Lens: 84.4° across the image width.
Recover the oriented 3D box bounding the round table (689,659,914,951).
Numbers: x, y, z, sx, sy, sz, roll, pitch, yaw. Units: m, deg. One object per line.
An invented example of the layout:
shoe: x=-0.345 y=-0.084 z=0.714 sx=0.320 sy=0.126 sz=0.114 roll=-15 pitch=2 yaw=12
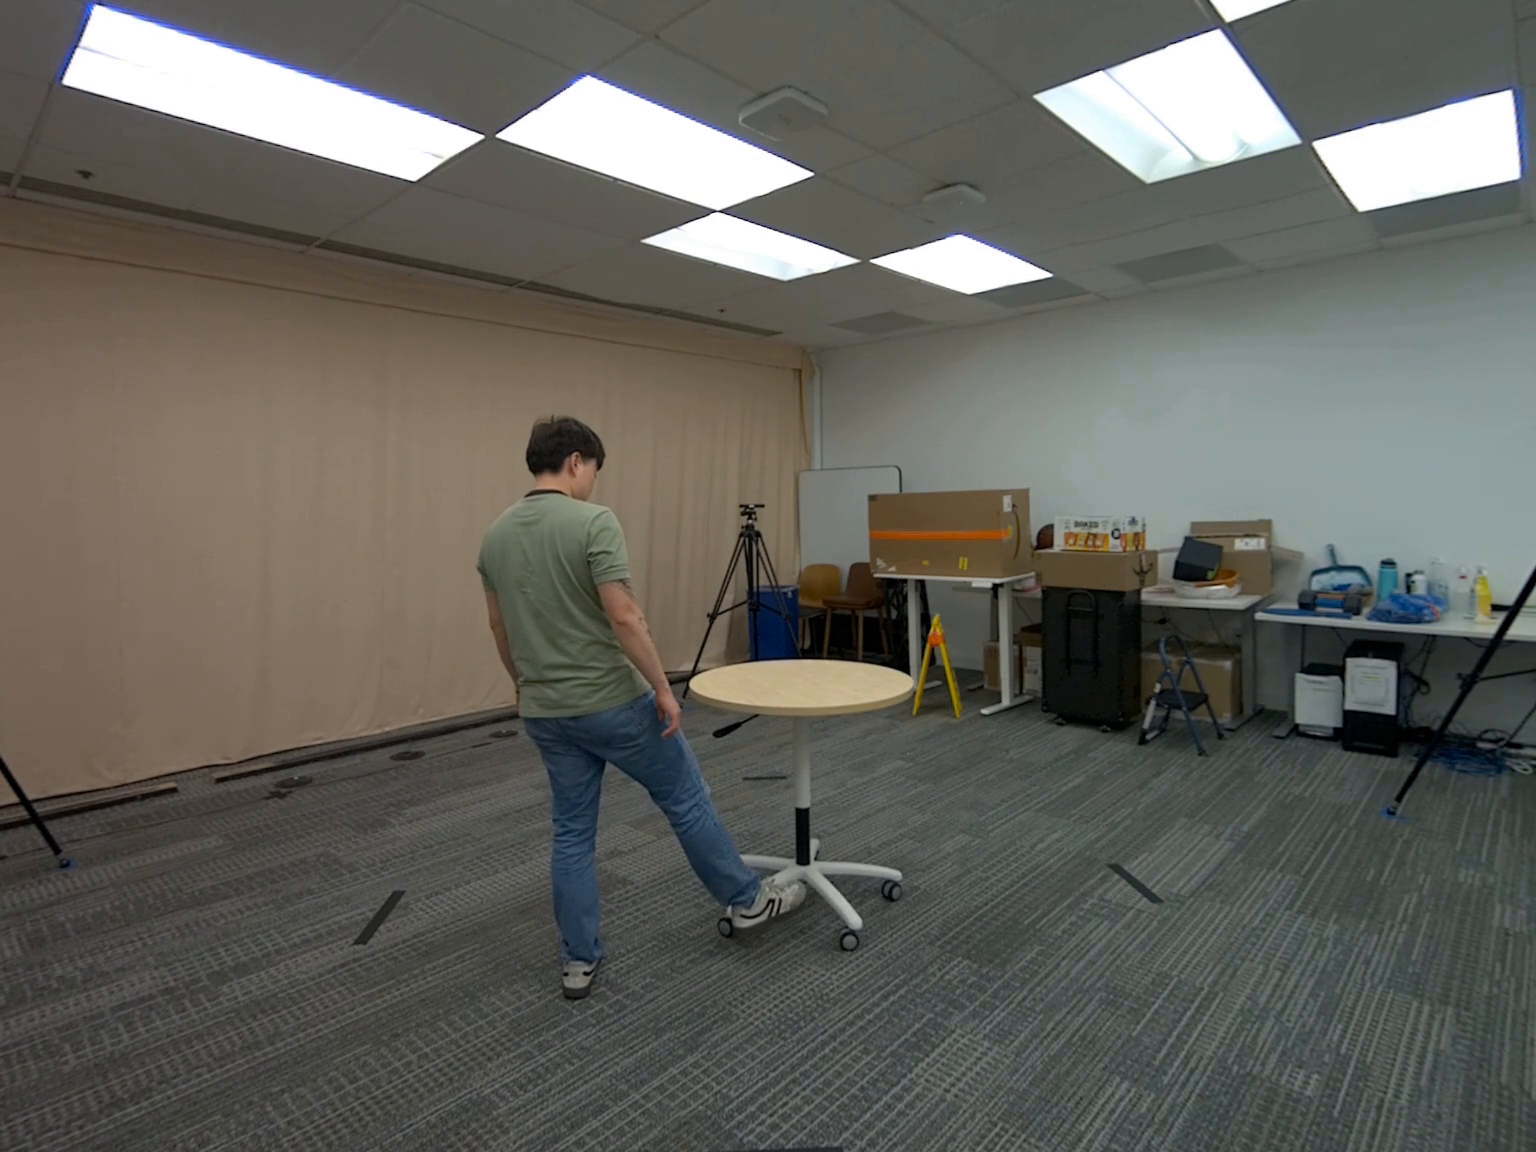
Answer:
round table: x=0.120 y=0.753 z=2.923 sx=0.763 sy=0.792 sz=0.767 roll=-1 pitch=4 yaw=-2
